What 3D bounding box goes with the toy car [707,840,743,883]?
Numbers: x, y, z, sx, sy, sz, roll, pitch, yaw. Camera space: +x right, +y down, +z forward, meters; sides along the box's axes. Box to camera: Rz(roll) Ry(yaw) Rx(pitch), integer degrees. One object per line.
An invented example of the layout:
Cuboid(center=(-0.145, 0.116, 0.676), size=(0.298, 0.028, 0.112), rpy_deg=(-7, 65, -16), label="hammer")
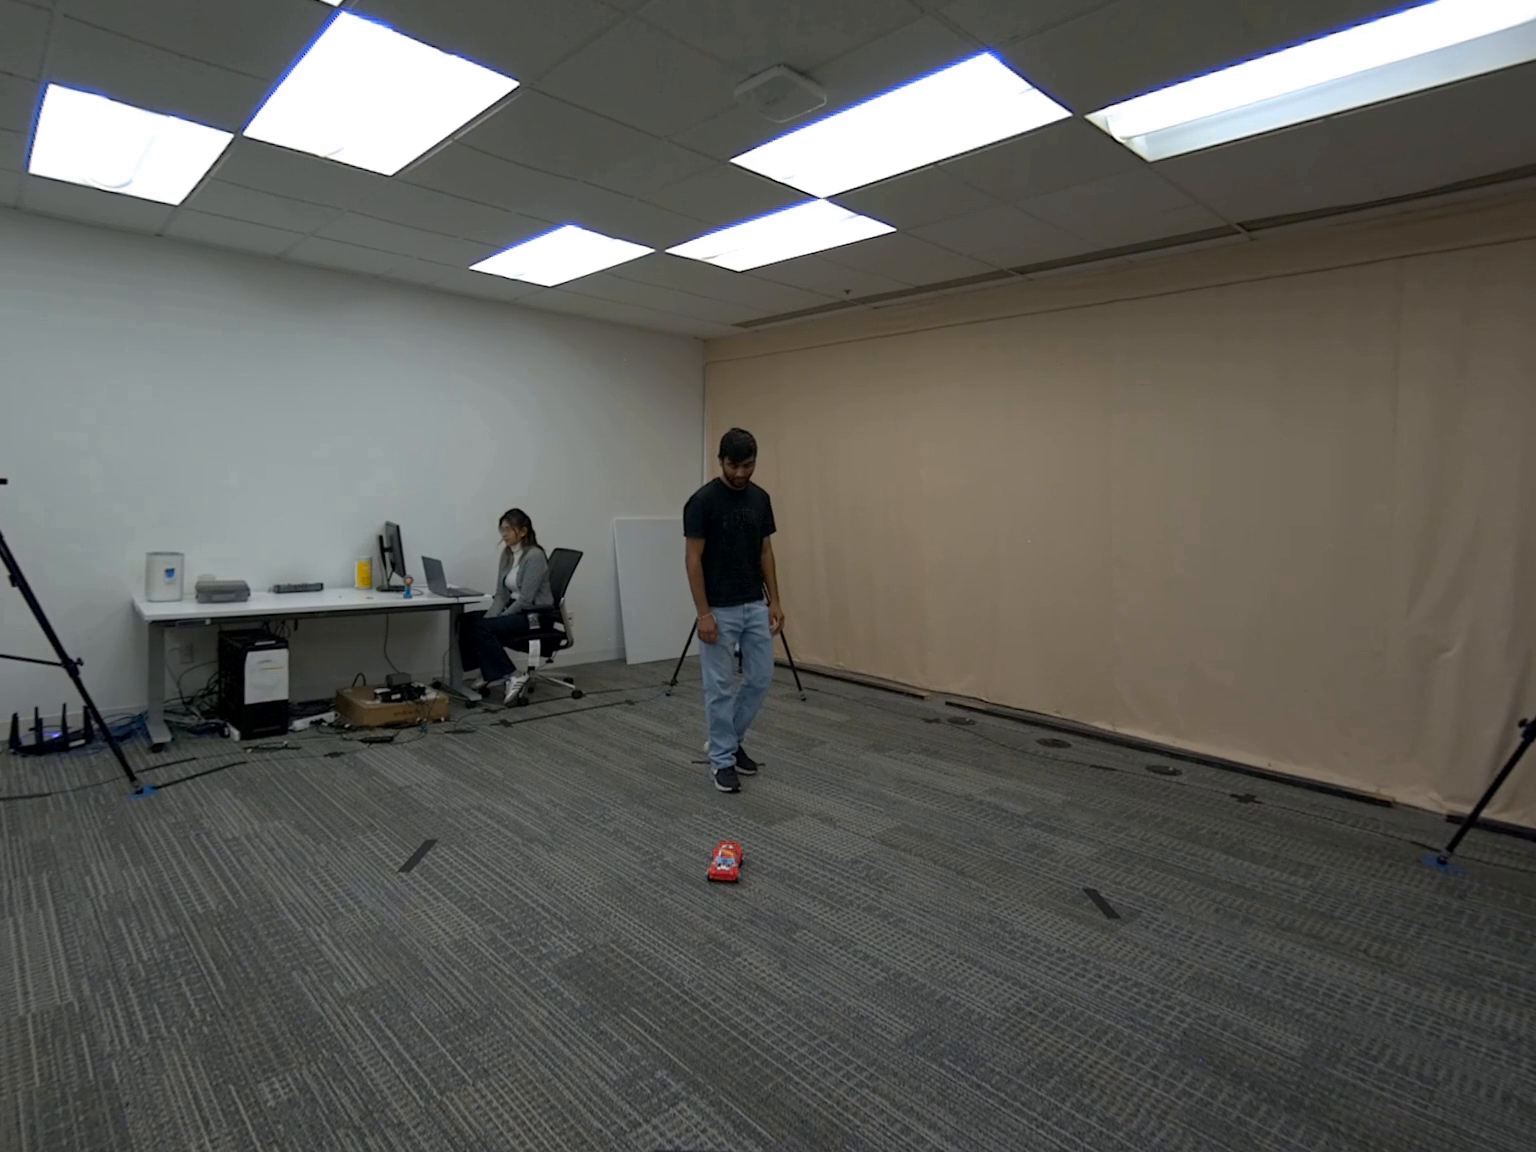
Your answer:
Cuboid(center=(-0.163, 1.068, 3.151), size=(0.131, 0.082, 0.256), rpy_deg=(1, 16, 4), label="toy car")
